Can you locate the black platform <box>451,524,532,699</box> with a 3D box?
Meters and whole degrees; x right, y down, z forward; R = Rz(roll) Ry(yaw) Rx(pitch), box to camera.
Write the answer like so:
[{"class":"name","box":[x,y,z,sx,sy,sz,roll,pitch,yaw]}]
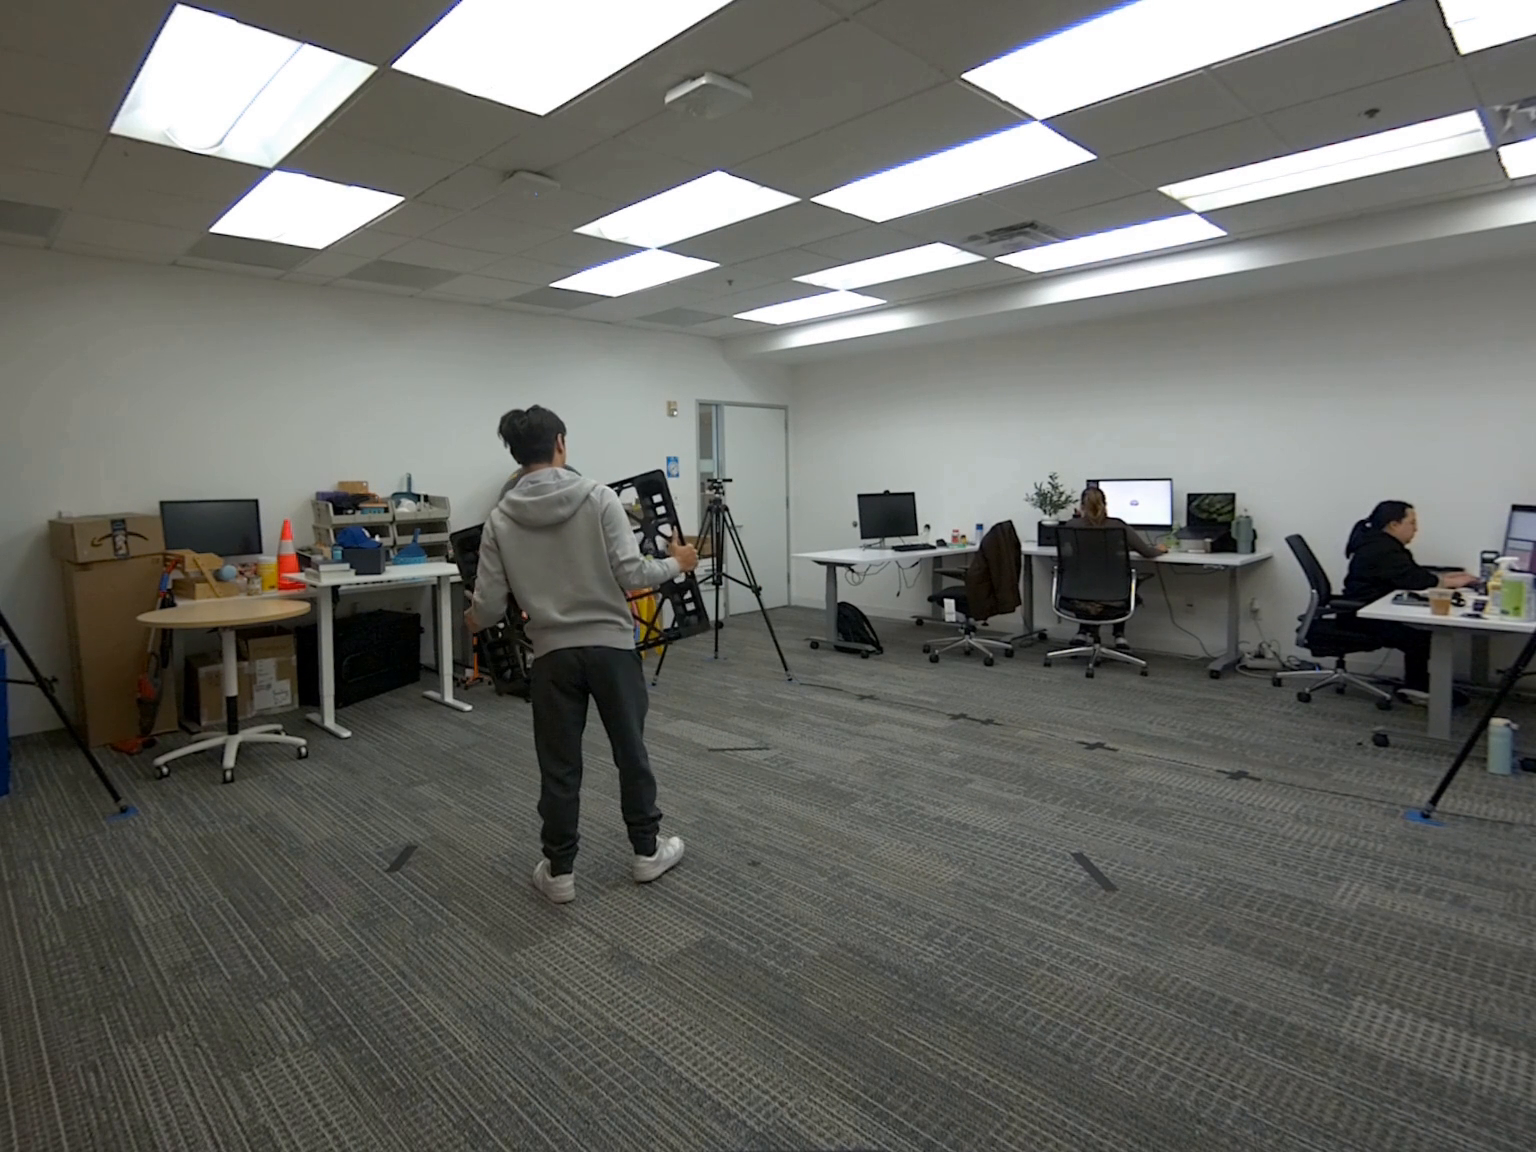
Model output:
[{"class":"black platform","box":[-0.648,0.021,3.083,0.807,0.604,0.143,-18,1,3]}]
